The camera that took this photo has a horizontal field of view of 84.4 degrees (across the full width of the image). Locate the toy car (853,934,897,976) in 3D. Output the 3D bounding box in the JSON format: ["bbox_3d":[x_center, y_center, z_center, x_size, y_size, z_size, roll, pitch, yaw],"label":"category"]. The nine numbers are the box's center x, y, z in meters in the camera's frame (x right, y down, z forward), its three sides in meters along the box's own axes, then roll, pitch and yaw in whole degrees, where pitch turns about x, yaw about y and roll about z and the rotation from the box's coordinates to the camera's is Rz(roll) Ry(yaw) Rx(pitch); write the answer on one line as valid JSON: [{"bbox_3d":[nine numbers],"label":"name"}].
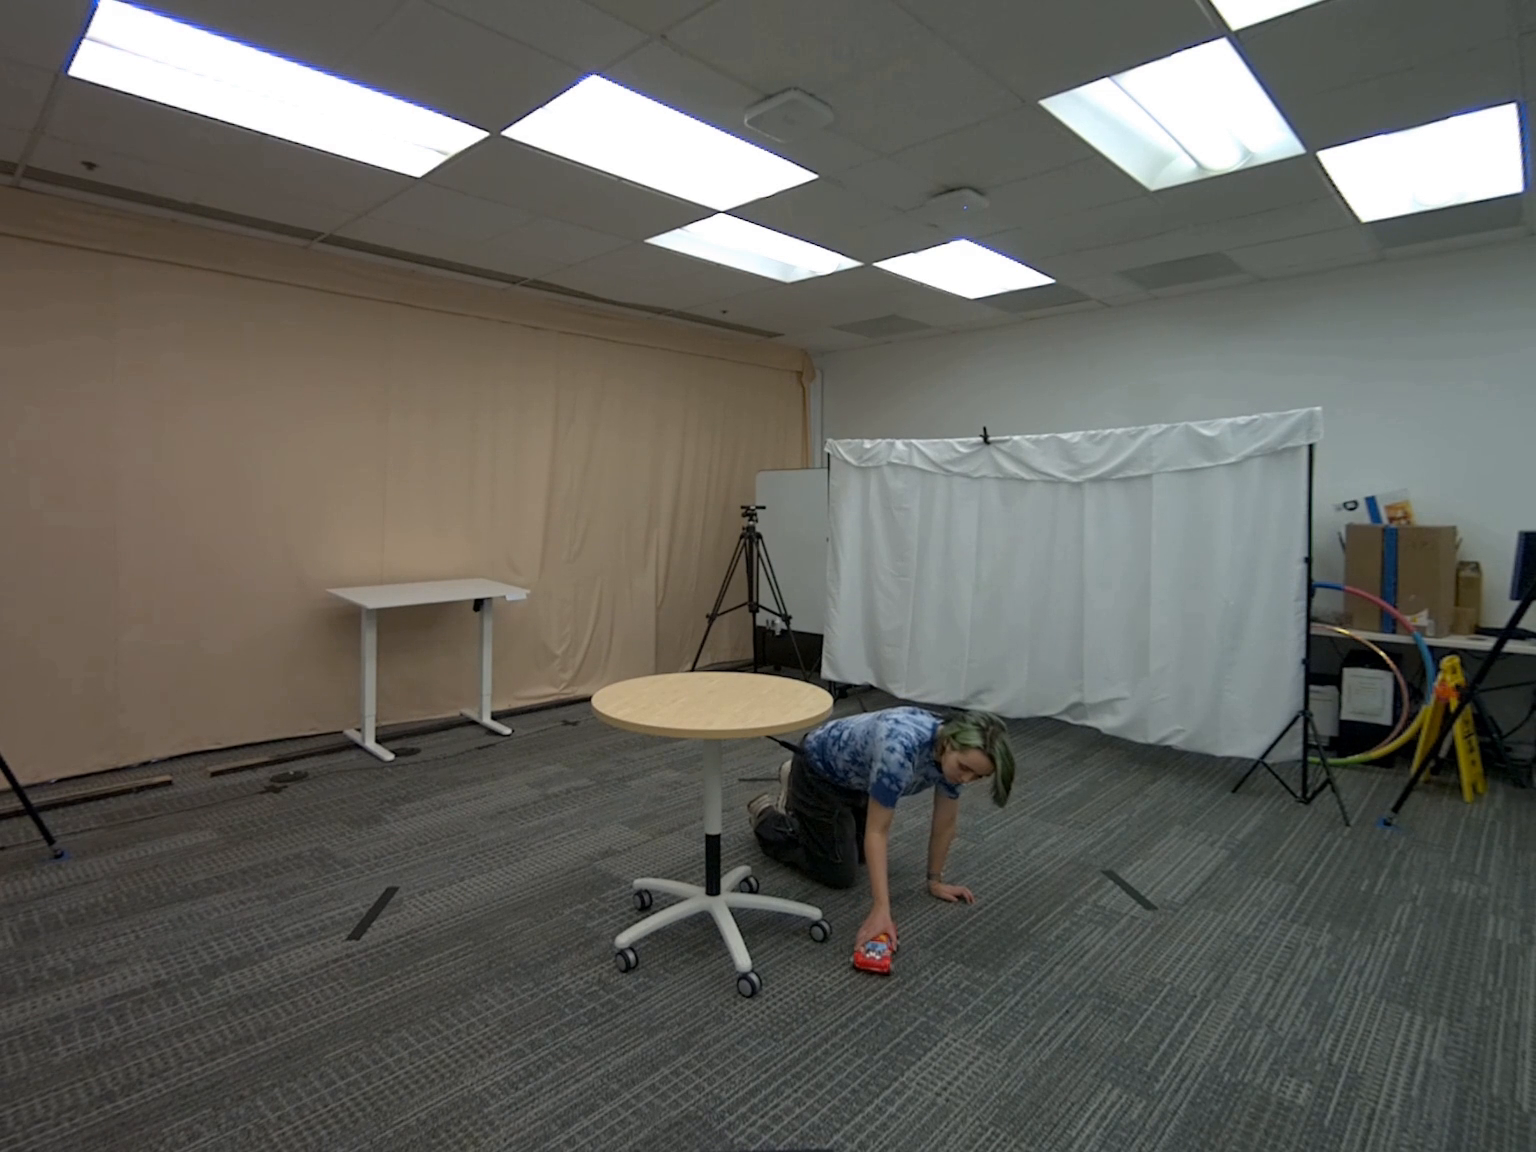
[{"bbox_3d":[0.342,1.143,2.605,0.133,0.082,0.252,3,16,16],"label":"toy car"}]
